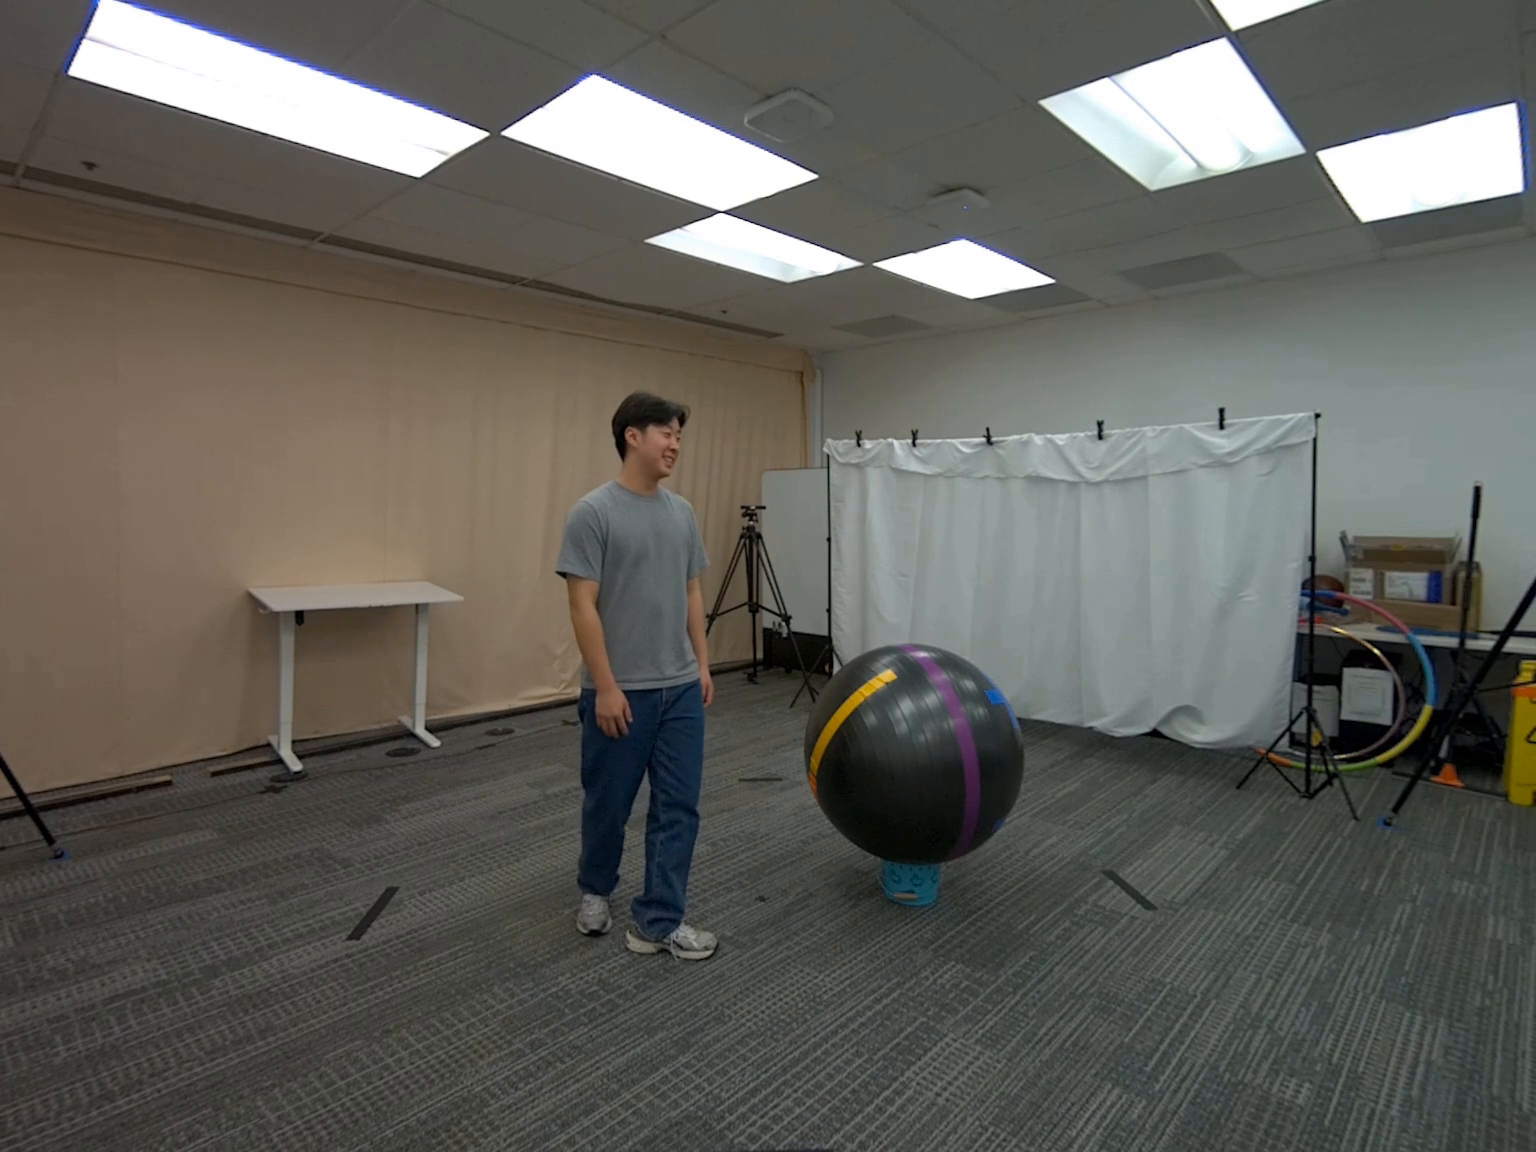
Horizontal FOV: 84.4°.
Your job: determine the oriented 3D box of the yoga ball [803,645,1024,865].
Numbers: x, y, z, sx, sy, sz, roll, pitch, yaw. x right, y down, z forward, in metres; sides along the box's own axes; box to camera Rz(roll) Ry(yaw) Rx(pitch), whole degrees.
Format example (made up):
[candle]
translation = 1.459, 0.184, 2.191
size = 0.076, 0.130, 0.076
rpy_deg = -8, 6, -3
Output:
[yoga ball]
translation = 0.521, 0.630, 2.997
size = 0.757, 0.756, 0.761
rpy_deg = 0, 4, -2
